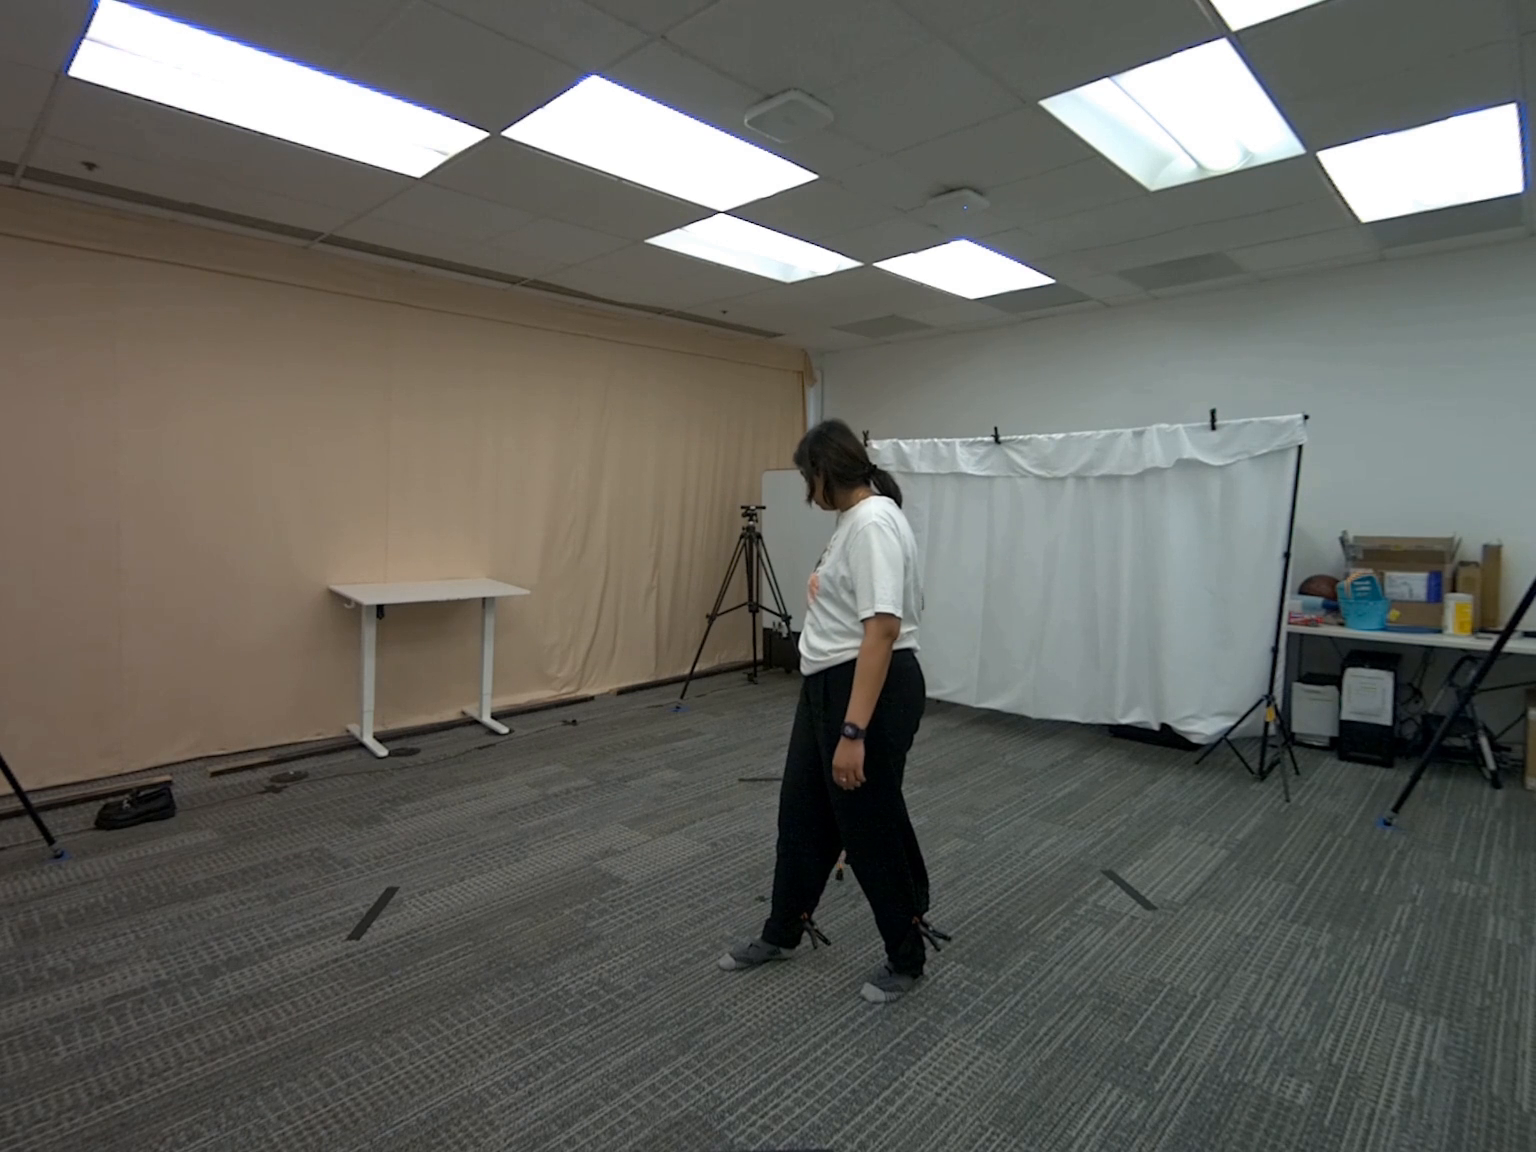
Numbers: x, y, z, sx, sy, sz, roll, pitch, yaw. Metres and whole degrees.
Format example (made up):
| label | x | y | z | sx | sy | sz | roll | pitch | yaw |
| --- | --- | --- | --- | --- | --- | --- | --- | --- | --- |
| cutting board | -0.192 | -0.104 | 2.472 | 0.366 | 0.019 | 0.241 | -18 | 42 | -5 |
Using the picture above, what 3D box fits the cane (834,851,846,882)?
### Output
| label | x | y | z | sx | sy | sz | roll | pitch | yaw |
| --- | --- | --- | --- | --- | --- | --- | --- | --- | --- |
| cane | 0.233 | 0.594 | 2.945 | 0.211 | 0.903 | 0.149 | 9 | 10 | 19 |
